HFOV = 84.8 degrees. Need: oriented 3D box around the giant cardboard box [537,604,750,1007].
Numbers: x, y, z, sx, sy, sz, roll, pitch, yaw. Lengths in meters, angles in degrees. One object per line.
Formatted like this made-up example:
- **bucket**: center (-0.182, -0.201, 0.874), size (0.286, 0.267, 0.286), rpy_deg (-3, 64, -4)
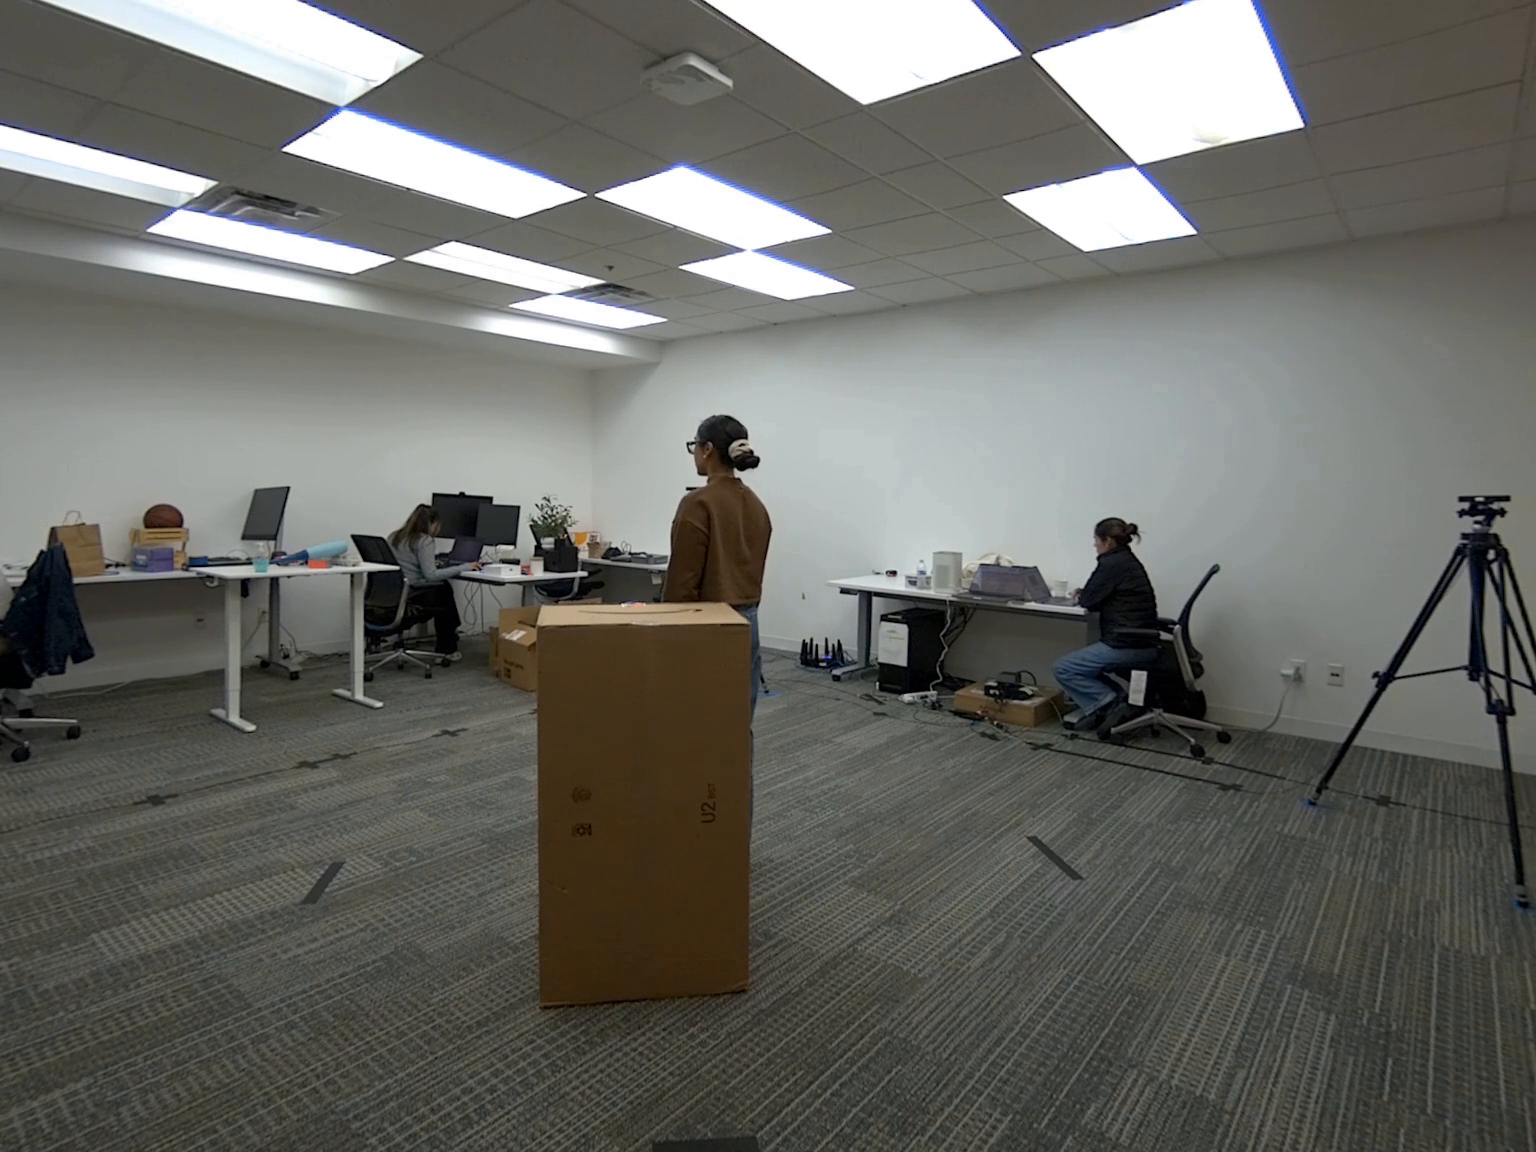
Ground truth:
- **giant cardboard box**: center (-0.387, 0.613, 2.479), size (0.571, 1.023, 0.432), rpy_deg (1, 3, -11)
